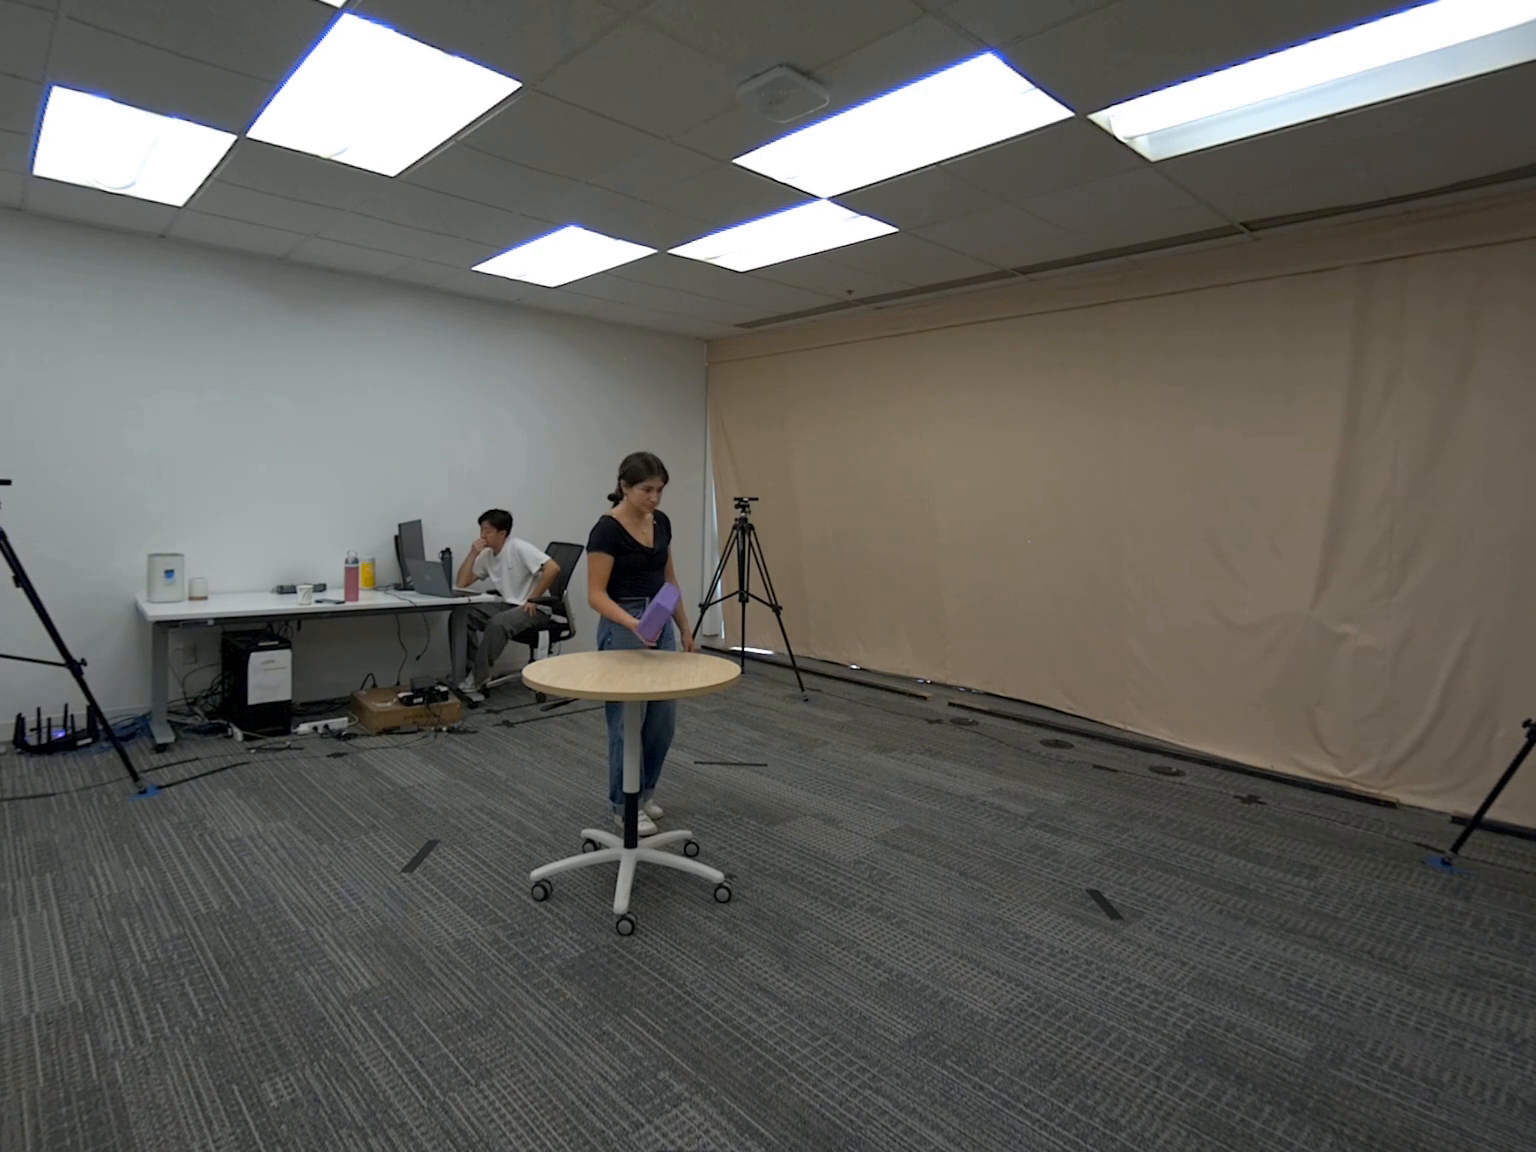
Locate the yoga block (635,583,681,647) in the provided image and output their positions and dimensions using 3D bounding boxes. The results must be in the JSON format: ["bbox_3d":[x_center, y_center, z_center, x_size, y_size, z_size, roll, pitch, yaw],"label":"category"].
[{"bbox_3d":[-0.417,0.138,3.195,0.076,0.148,0.232,28,18,-8],"label":"yoga block"}]
